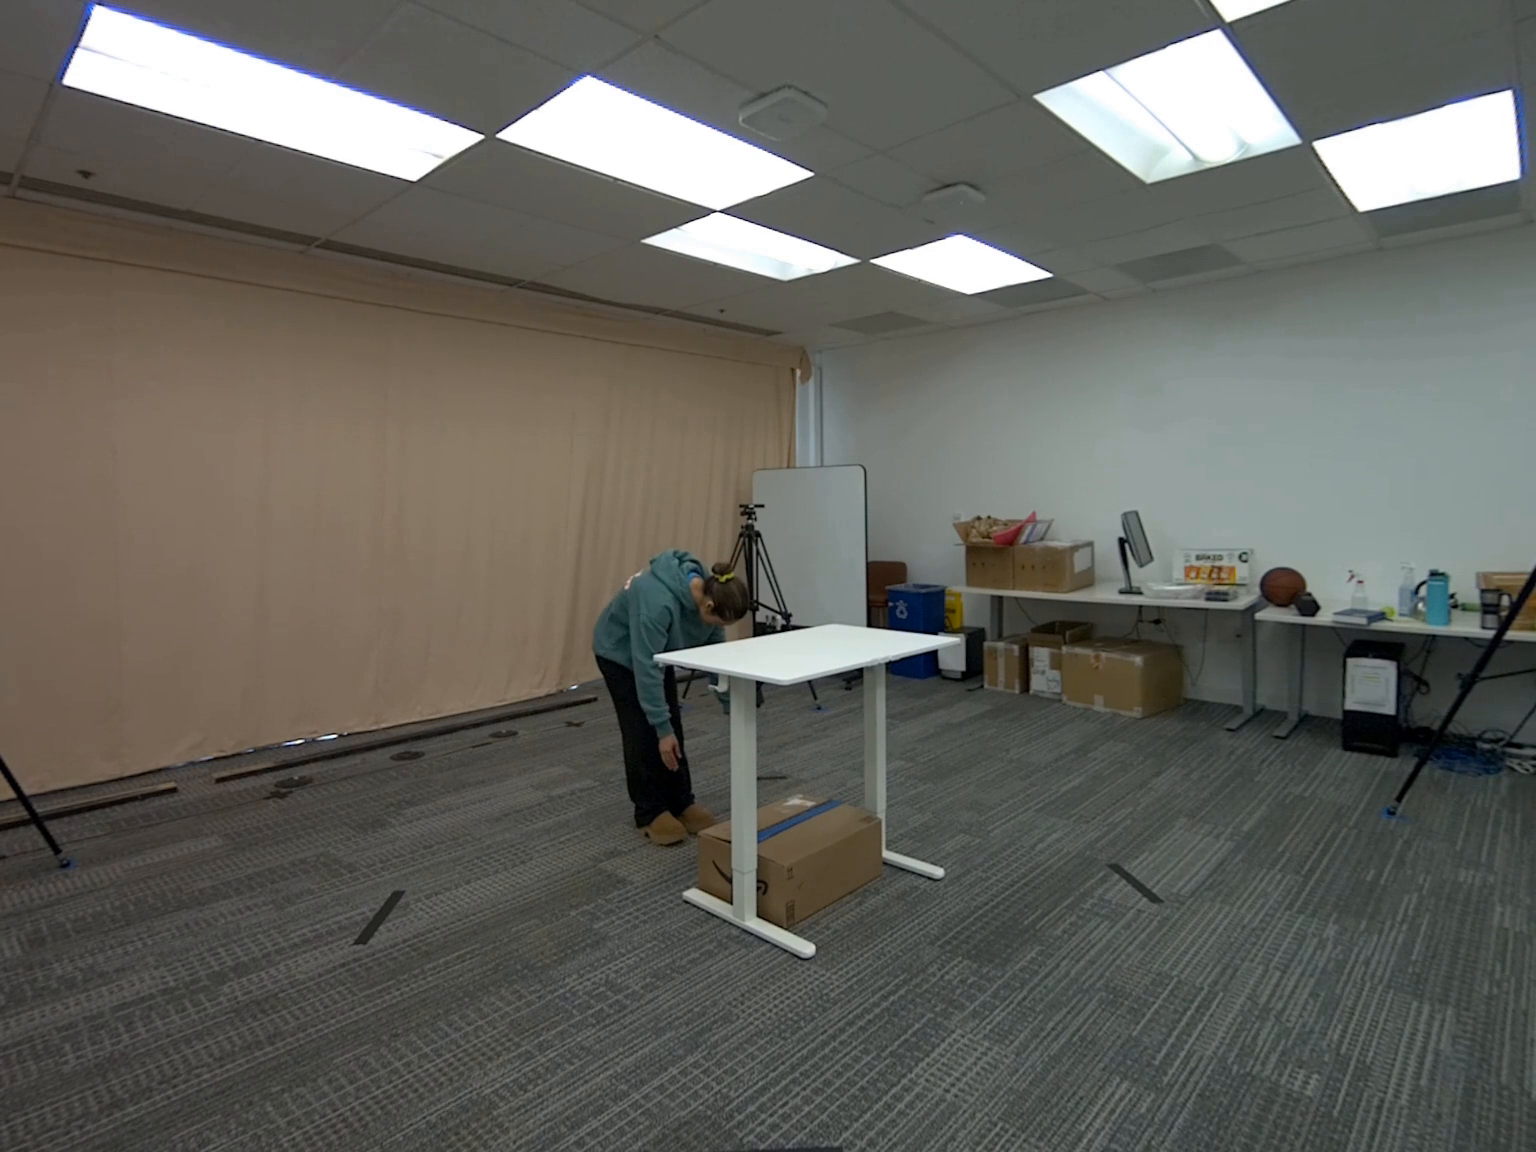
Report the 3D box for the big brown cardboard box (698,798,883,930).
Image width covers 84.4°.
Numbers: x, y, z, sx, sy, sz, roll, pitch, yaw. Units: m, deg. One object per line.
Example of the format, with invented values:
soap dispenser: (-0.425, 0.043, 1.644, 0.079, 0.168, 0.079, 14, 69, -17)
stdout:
big brown cardboard box: (0.089, 1.016, 3.087, 0.431, 0.232, 0.571, 3, 7, 43)
